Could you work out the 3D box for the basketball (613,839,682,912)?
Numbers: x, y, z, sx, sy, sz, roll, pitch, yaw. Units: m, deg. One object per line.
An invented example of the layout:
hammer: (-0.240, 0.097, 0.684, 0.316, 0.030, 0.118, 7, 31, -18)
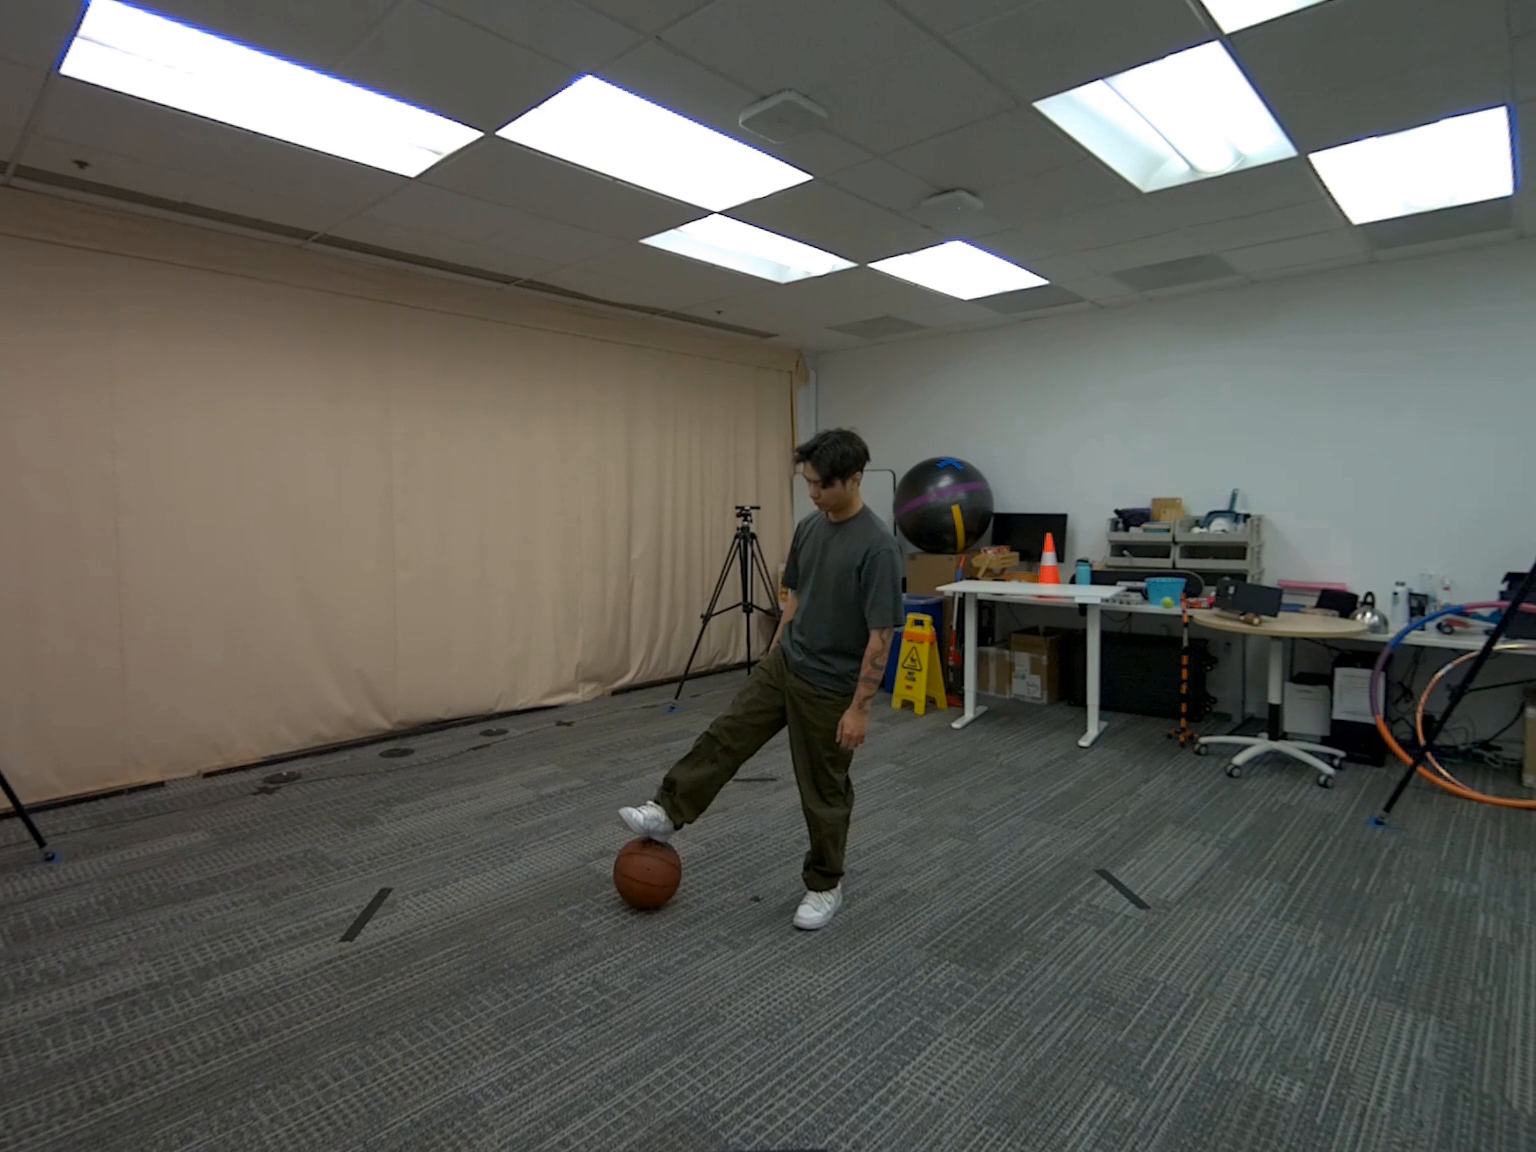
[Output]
basketball: (-0.414, 1.034, 2.931, 0.236, 0.235, 0.237, 0, 4, -2)
